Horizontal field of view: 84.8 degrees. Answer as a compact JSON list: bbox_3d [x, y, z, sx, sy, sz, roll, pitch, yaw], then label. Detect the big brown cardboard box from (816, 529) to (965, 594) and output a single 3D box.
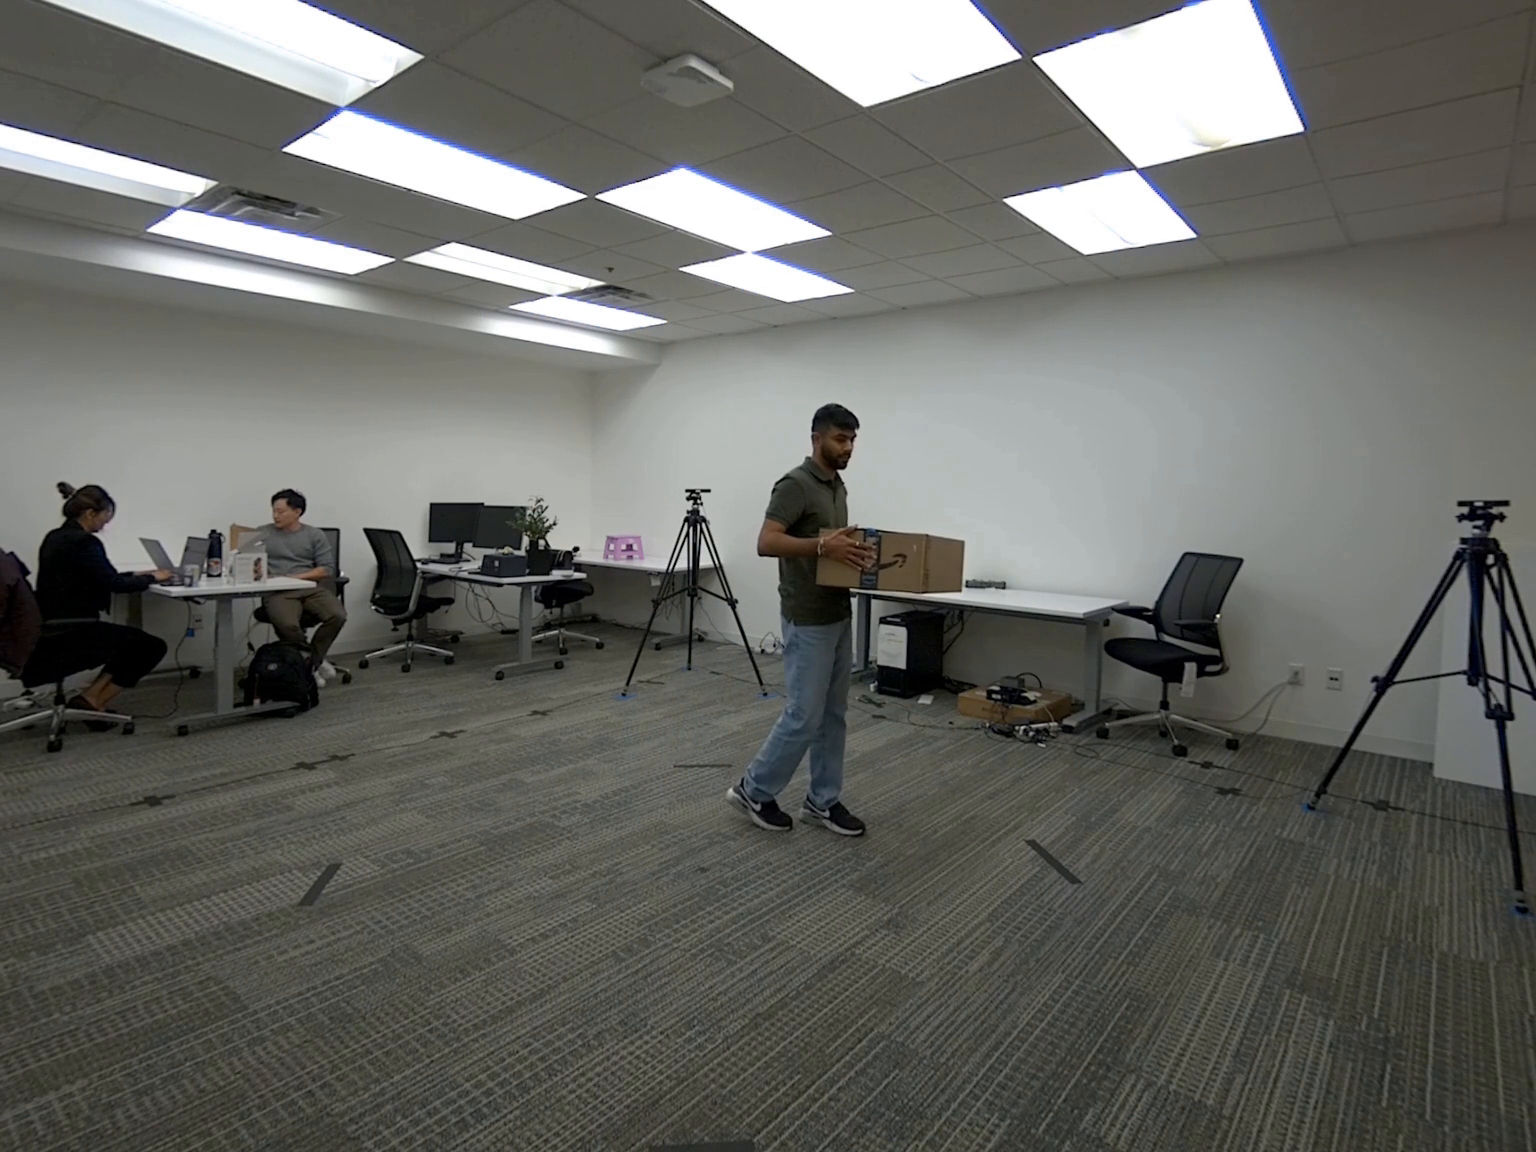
[{"bbox_3d":[0.481,-0.061,3.346,0.429,0.233,0.572,4,0,27],"label":"big brown cardboard box"}]
